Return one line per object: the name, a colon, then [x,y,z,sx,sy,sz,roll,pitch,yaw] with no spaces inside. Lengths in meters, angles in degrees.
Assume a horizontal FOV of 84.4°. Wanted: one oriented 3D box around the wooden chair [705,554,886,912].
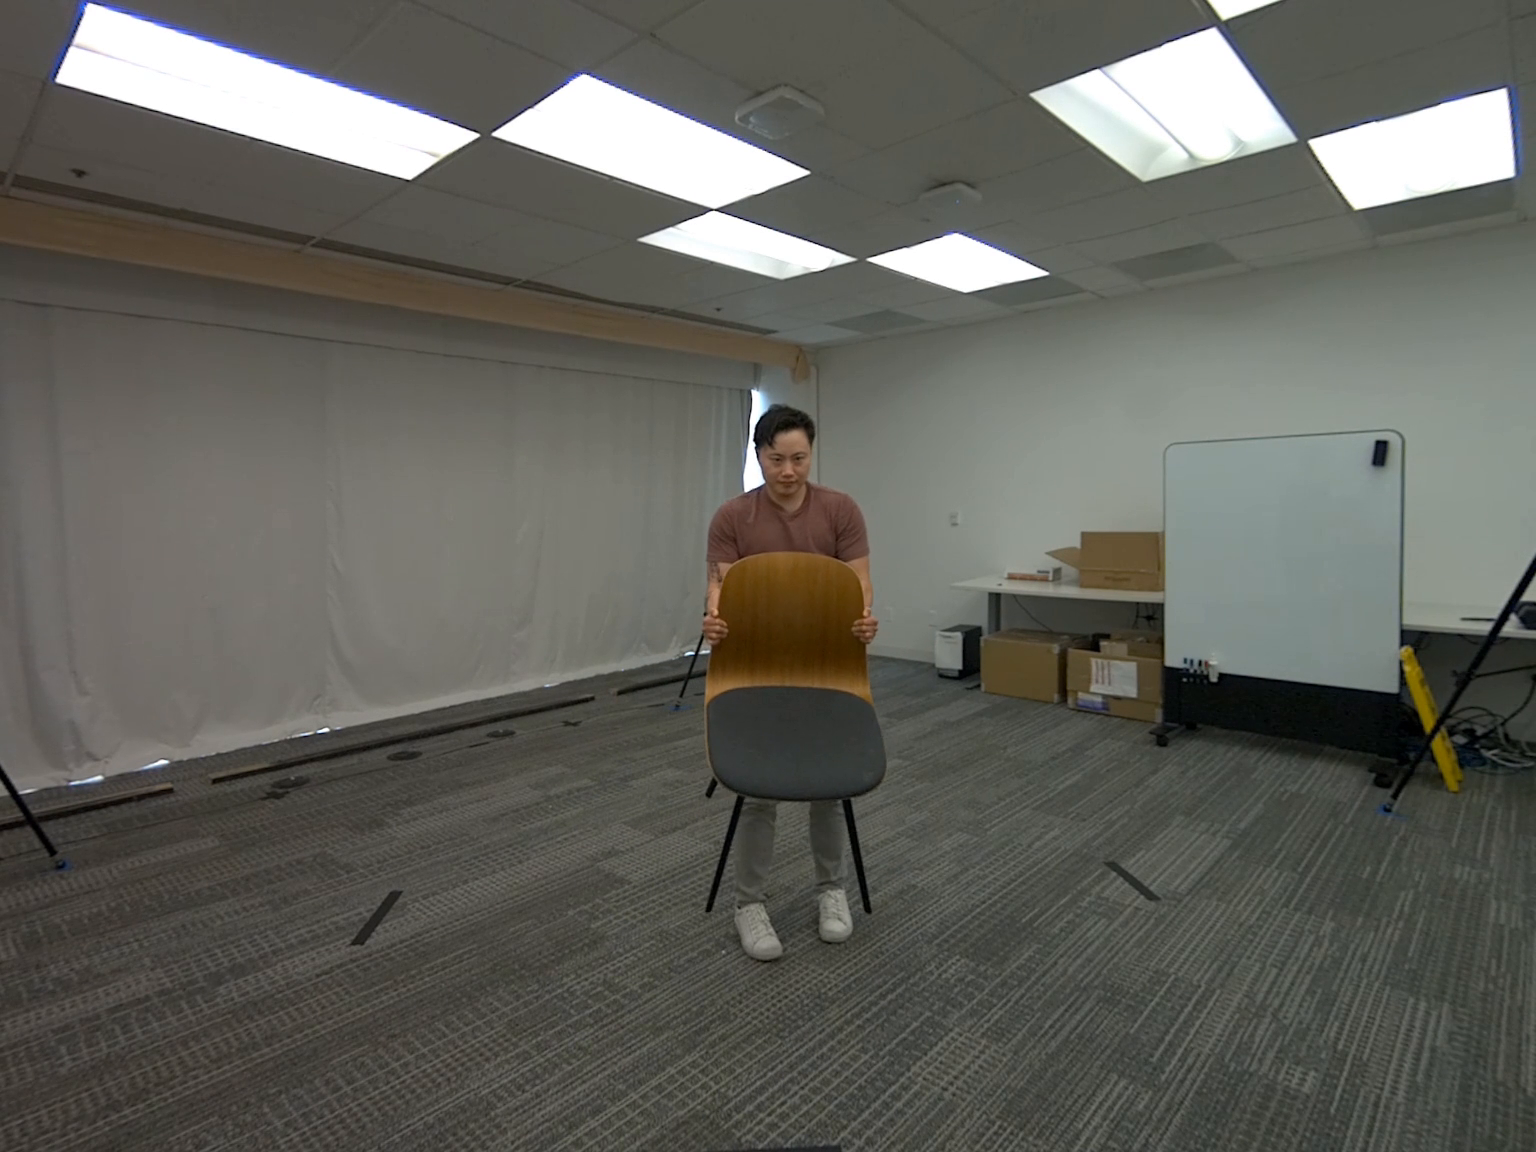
wooden chair: [0.075,0.442,2.294,0.477,0.867,0.531,2,22,-3]
